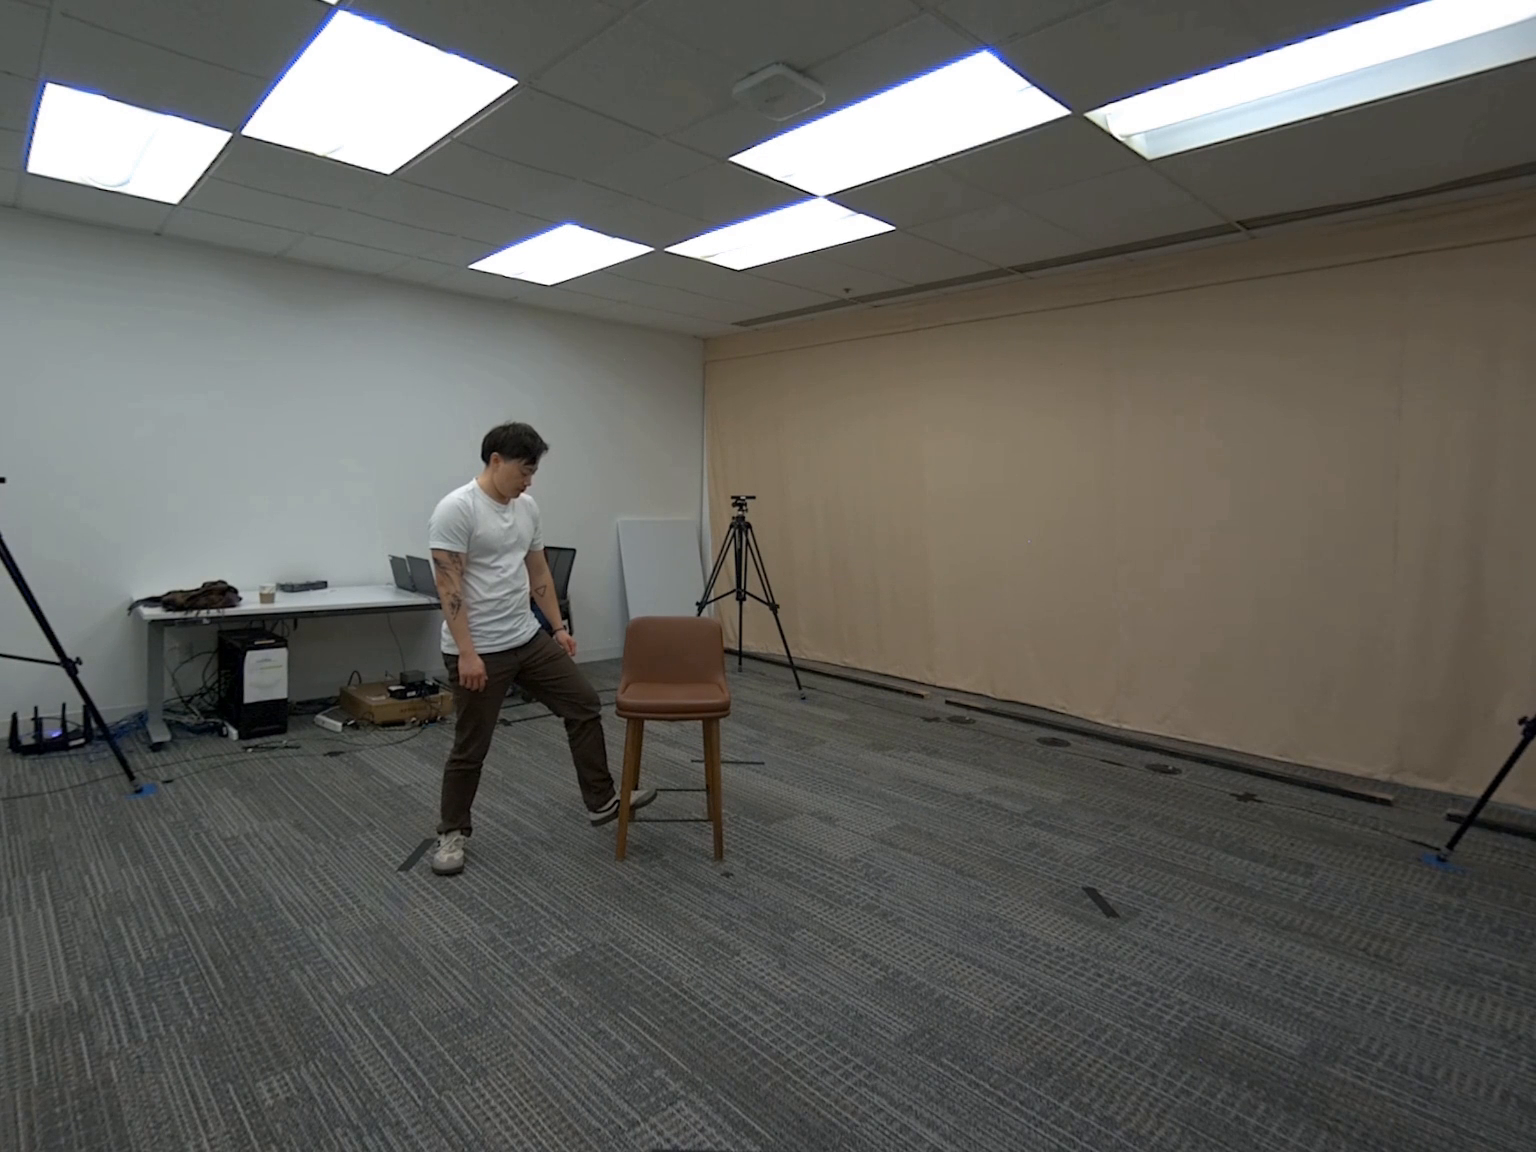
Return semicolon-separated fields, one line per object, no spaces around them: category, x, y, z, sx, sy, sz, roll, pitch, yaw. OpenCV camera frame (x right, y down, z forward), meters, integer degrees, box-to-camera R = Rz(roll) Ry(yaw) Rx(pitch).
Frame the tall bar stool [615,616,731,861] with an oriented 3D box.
tall bar stool;-0.391;0.633;3.414;0.455;0.889;0.469;1;1;-4
